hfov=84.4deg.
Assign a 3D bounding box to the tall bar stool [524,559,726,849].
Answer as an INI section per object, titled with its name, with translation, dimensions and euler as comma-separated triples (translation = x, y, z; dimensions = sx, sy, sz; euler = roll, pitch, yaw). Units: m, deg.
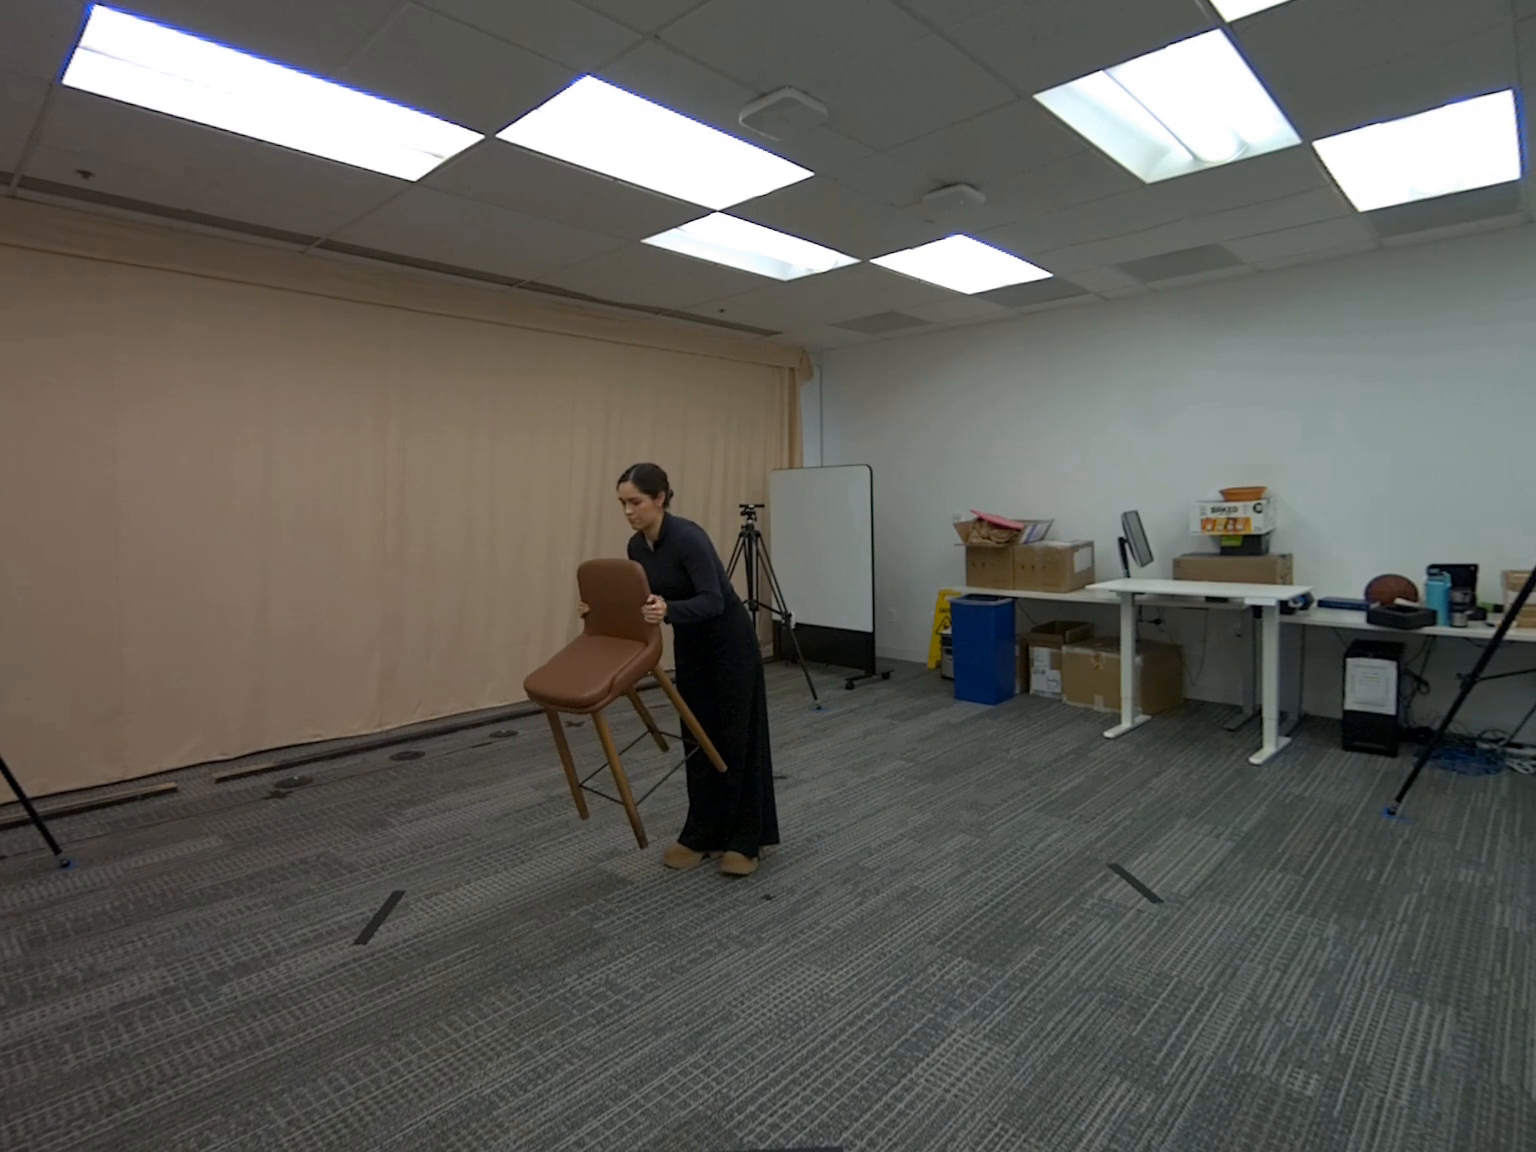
[tall bar stool]
translation = -0.556, 0.442, 3.019
dimensions = 0.472, 0.875, 0.460
euler = 4, 28, 47
